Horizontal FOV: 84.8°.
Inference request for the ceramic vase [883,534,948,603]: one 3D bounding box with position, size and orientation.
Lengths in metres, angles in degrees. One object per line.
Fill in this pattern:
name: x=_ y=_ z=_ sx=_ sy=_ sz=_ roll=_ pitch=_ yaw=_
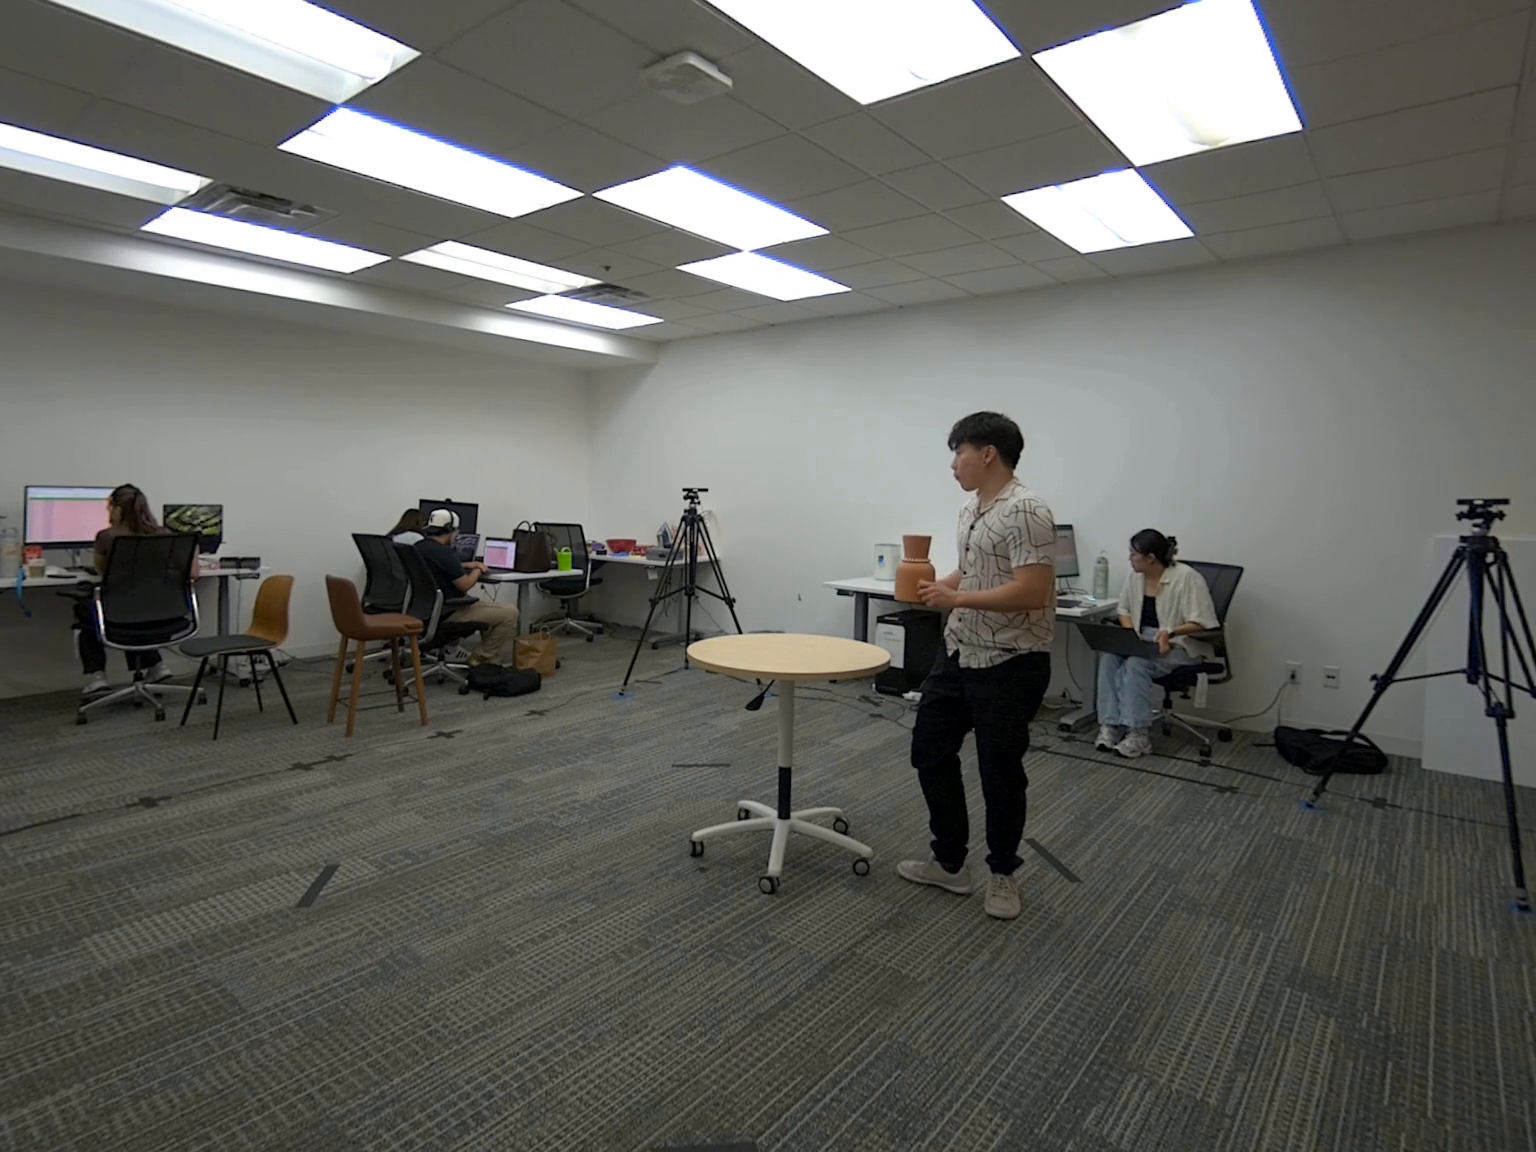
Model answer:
ceramic vase: x=0.499 y=-0.030 z=2.858 sx=0.164 sy=0.220 sz=0.130 roll=3 pitch=1 yaw=43
